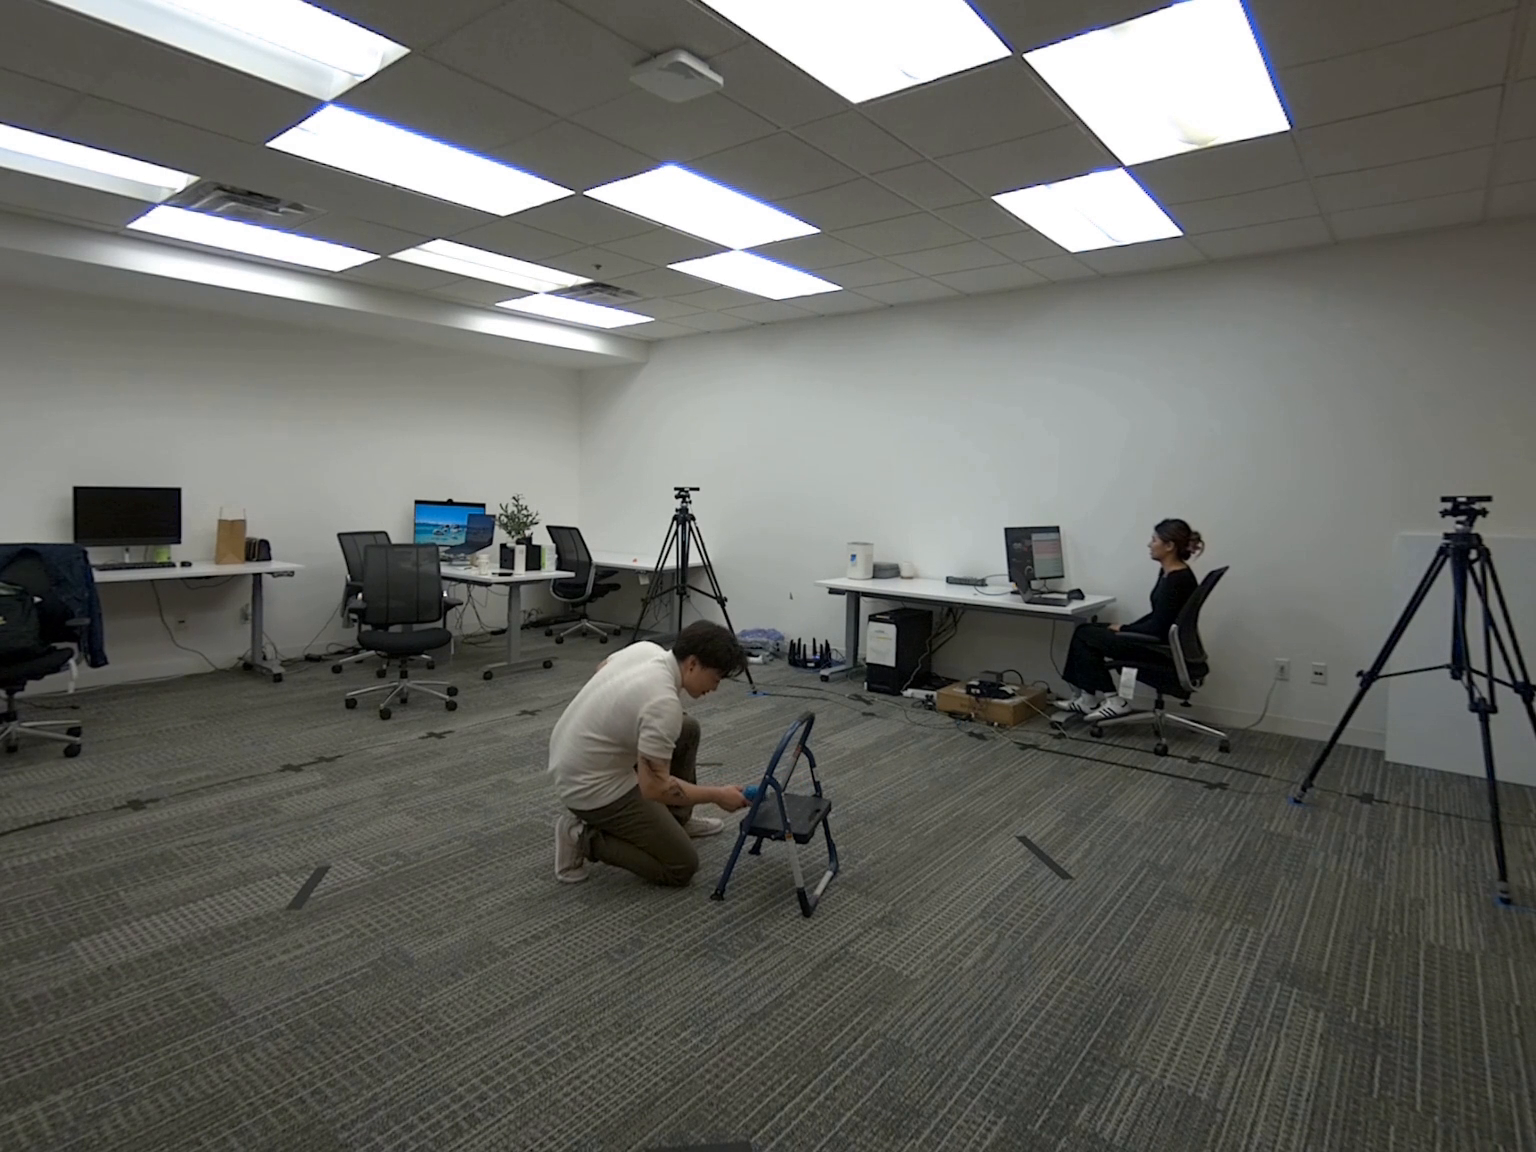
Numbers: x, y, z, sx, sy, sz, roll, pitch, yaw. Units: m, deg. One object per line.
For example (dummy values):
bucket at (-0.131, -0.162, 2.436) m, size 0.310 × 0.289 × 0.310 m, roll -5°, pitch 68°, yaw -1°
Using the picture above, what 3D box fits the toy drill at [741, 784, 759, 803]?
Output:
toy drill at (-0.082, 0.774, 2.961) m, size 0.148 × 0.063 × 0.163 m, roll -18°, pitch -25°, yaw 19°
